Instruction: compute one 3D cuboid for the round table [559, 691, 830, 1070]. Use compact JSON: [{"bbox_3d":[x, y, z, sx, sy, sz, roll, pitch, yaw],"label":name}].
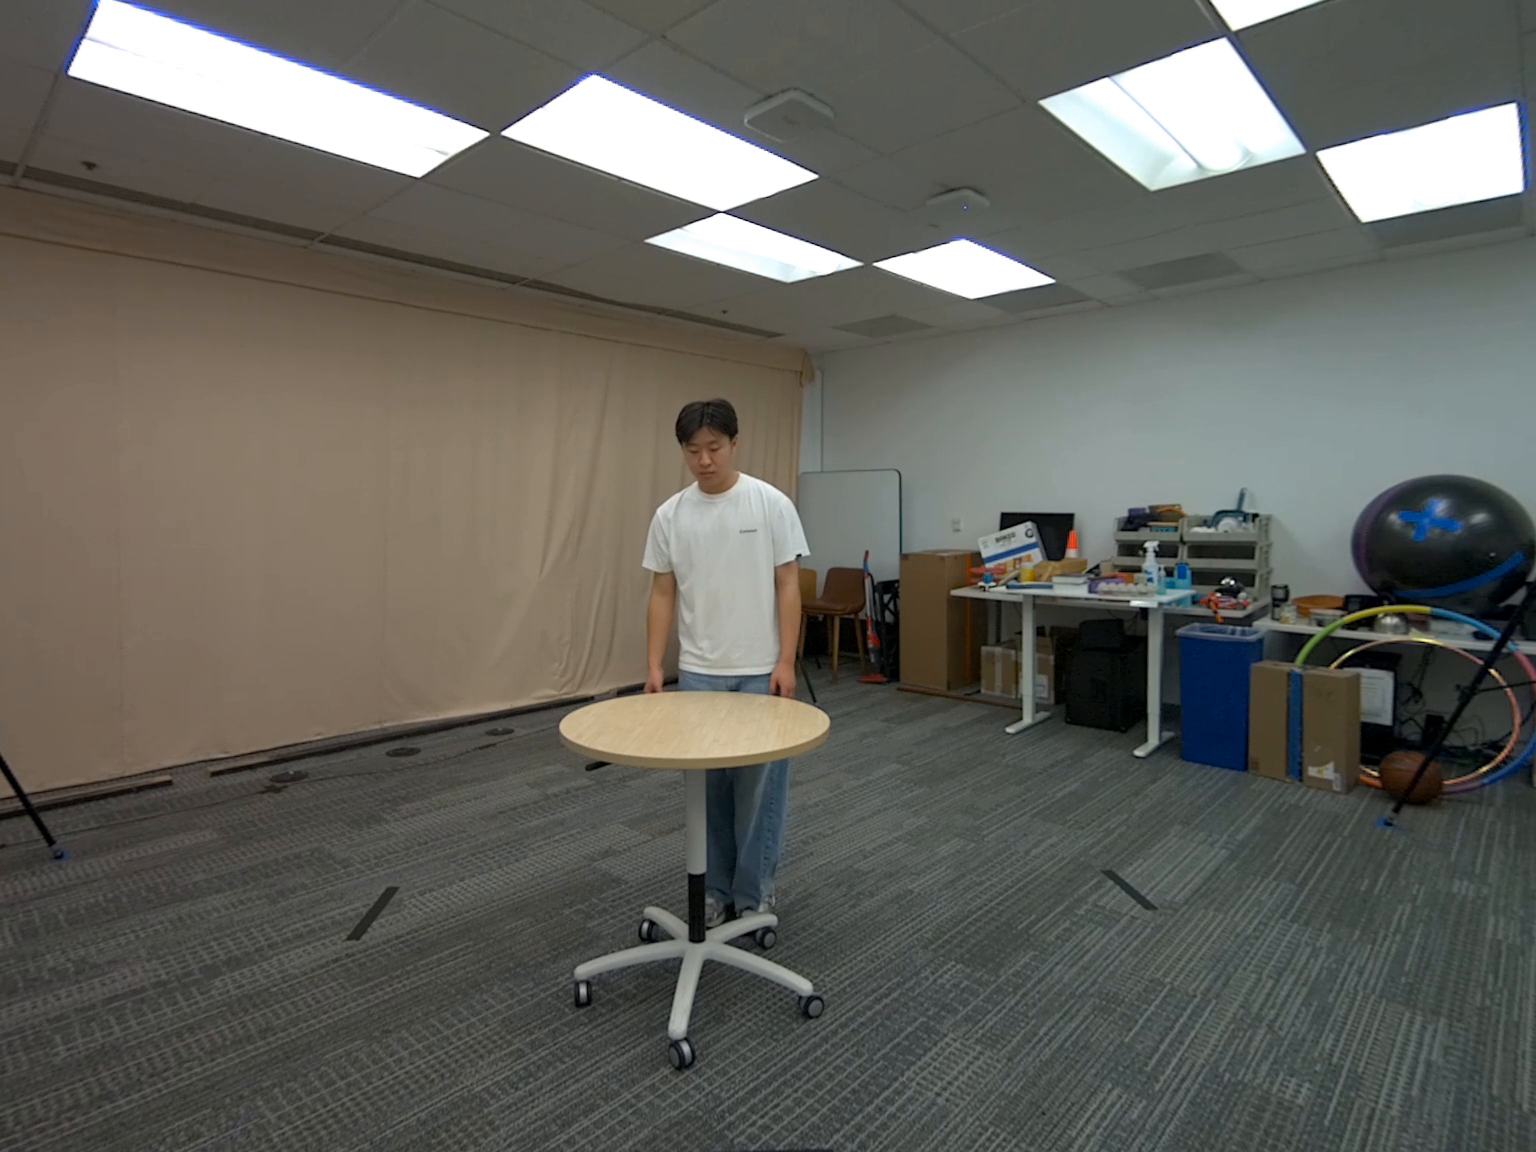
[{"bbox_3d":[-0.203,0.801,2.423,0.763,0.792,0.766,-1,3,-2],"label":"round table"}]
